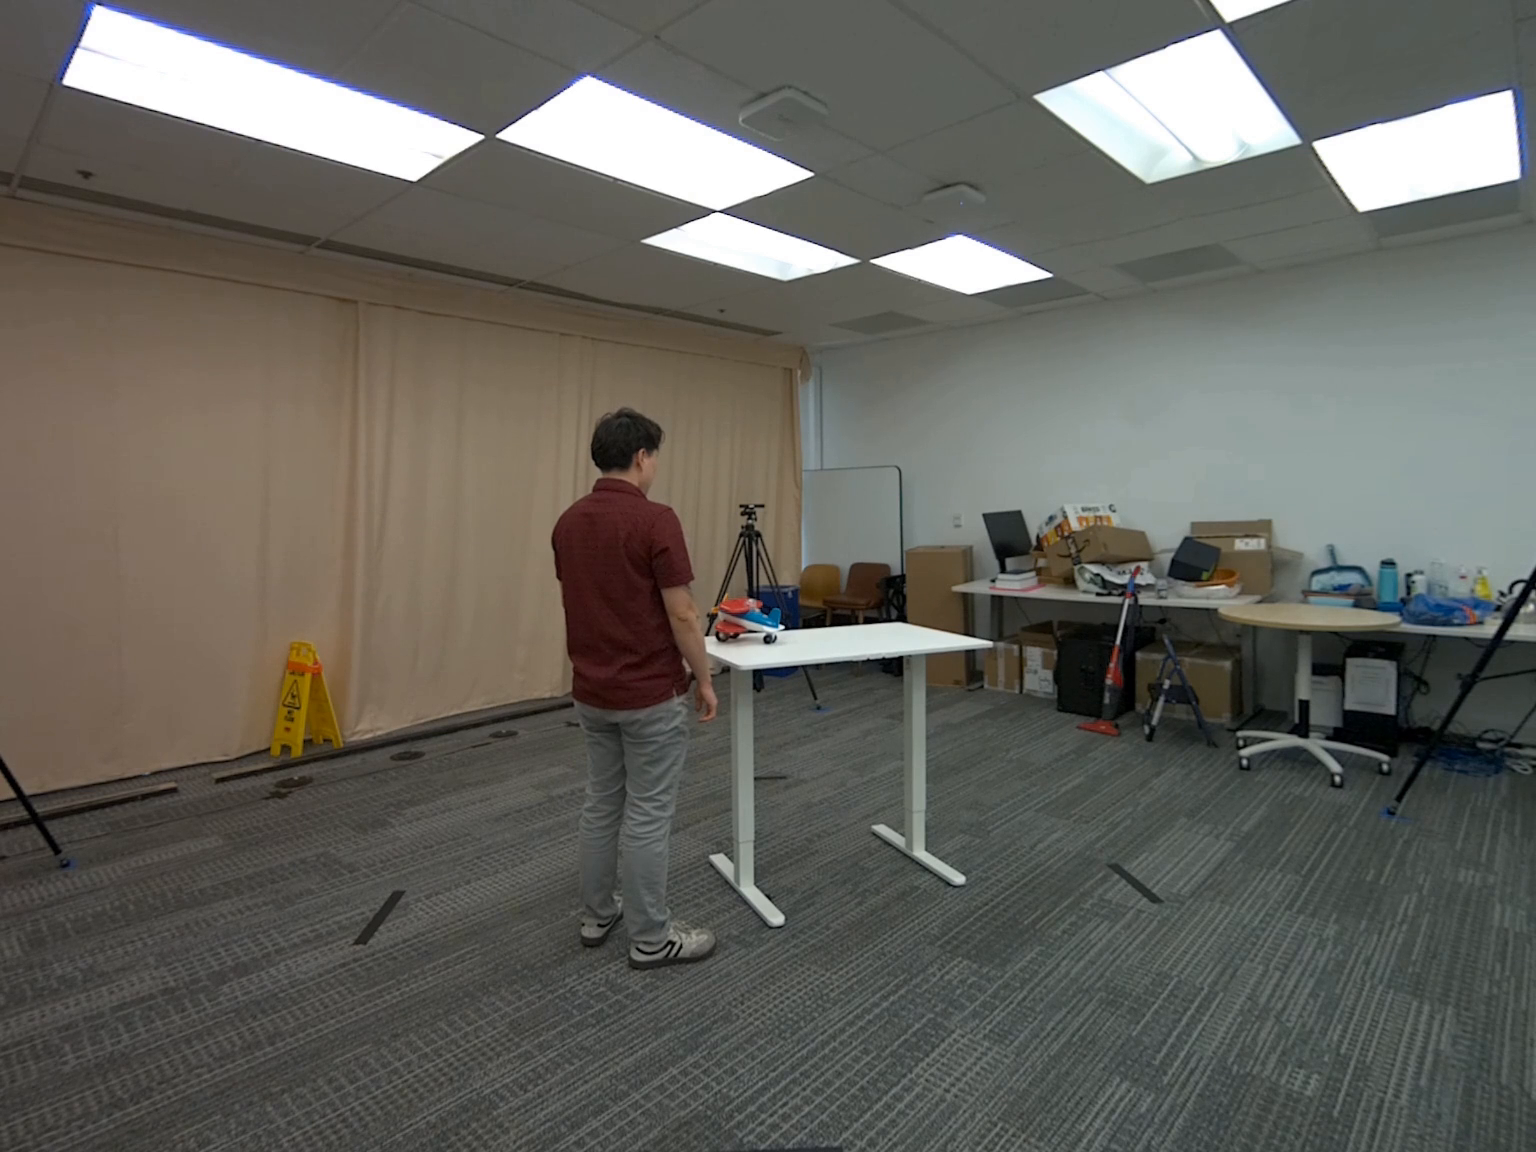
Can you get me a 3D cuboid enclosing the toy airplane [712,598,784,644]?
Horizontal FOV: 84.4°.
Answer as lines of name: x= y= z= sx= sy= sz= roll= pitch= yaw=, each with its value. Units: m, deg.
toy airplane: x=-0.069 y=0.167 z=3.148 sx=0.259 sy=0.156 sz=0.251 roll=-1 pitch=4 yaw=0
